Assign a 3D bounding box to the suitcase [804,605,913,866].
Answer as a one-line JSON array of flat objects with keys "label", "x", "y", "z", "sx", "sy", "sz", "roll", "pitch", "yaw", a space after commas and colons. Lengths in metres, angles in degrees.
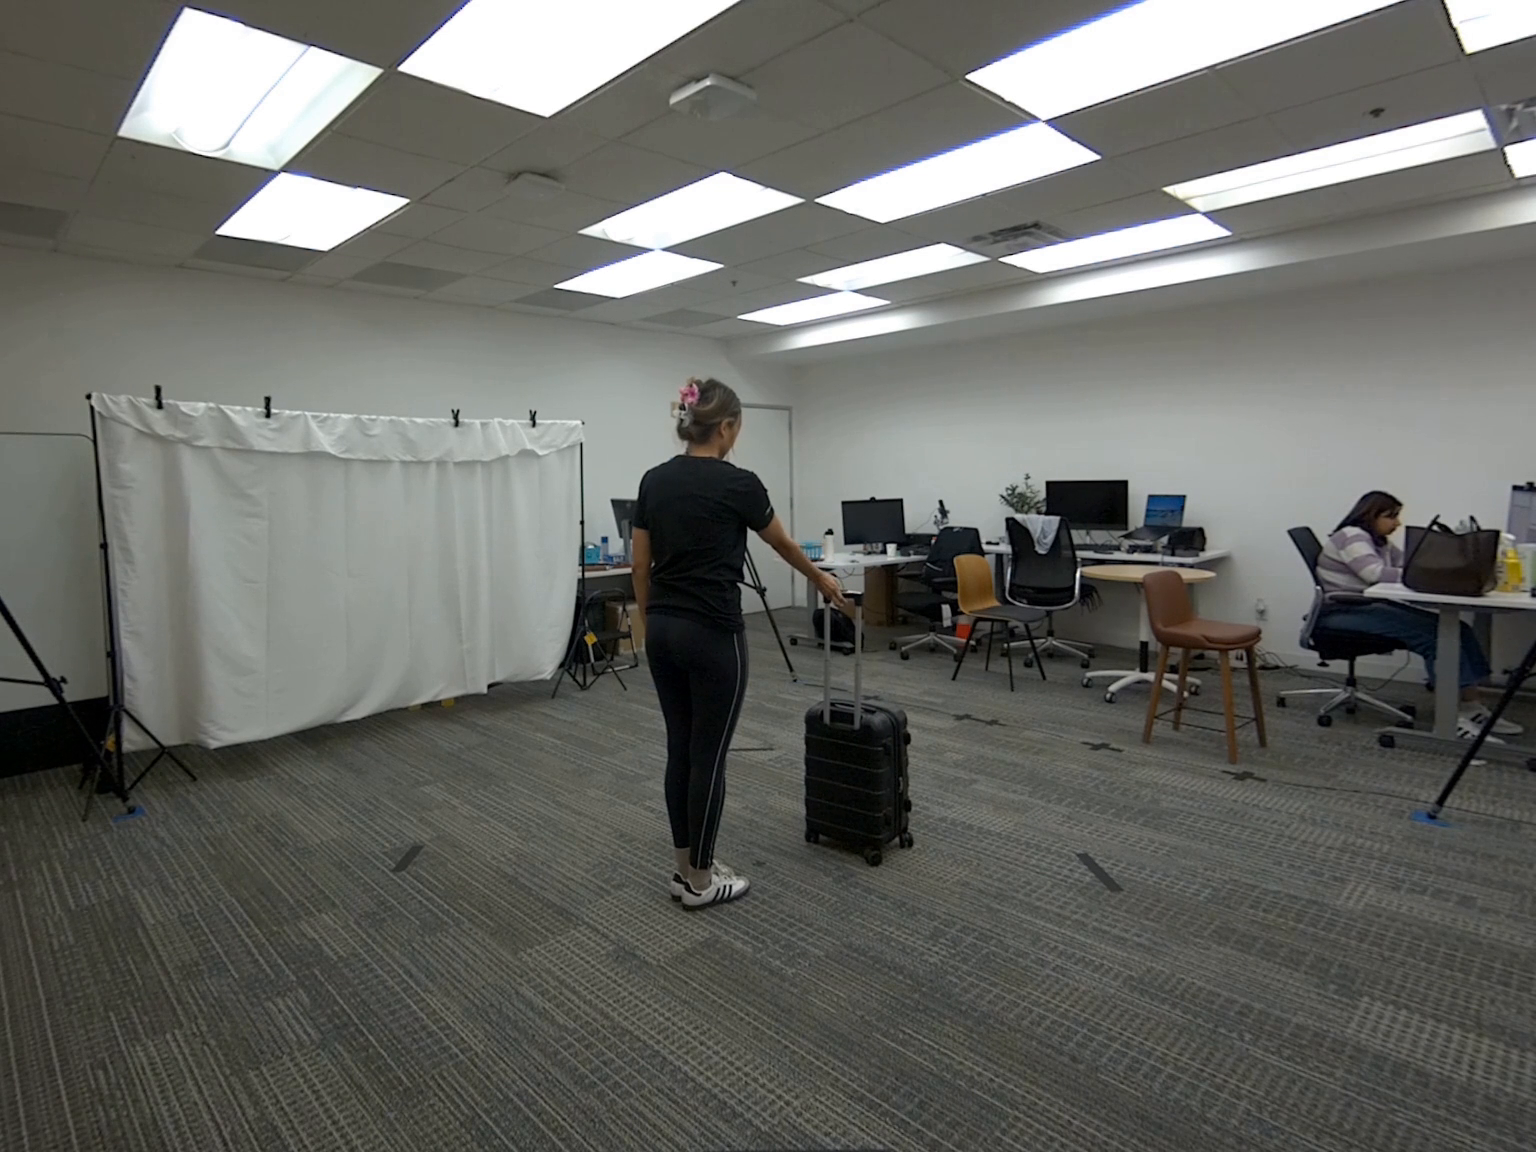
[{"label": "suitcase", "x": 0.341, "y": 0.551, "z": 3.248, "sx": 0.395, "sy": 0.977, "sz": 0.250, "roll": 1, "pitch": 2, "yaw": 38}]
